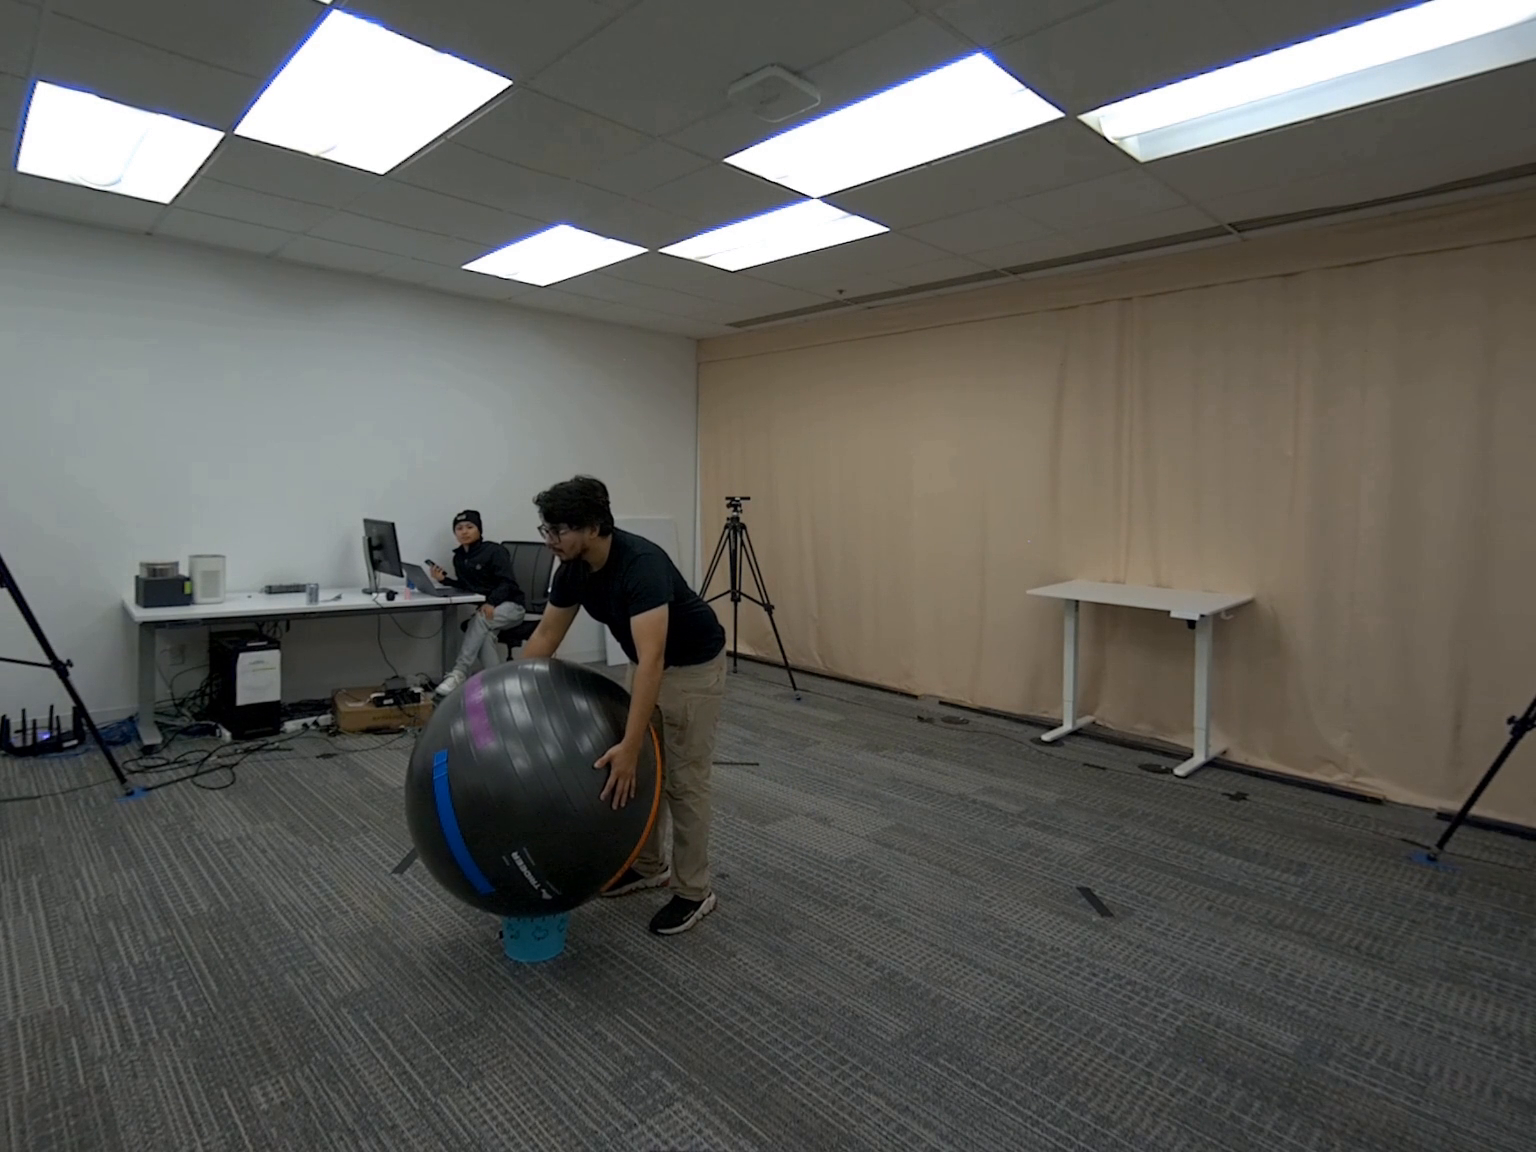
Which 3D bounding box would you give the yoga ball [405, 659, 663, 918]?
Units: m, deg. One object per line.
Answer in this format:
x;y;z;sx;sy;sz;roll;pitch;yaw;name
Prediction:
-0.712;0.636;2.560;0.757;0.756;0.761;1;4;-1;yoga ball
